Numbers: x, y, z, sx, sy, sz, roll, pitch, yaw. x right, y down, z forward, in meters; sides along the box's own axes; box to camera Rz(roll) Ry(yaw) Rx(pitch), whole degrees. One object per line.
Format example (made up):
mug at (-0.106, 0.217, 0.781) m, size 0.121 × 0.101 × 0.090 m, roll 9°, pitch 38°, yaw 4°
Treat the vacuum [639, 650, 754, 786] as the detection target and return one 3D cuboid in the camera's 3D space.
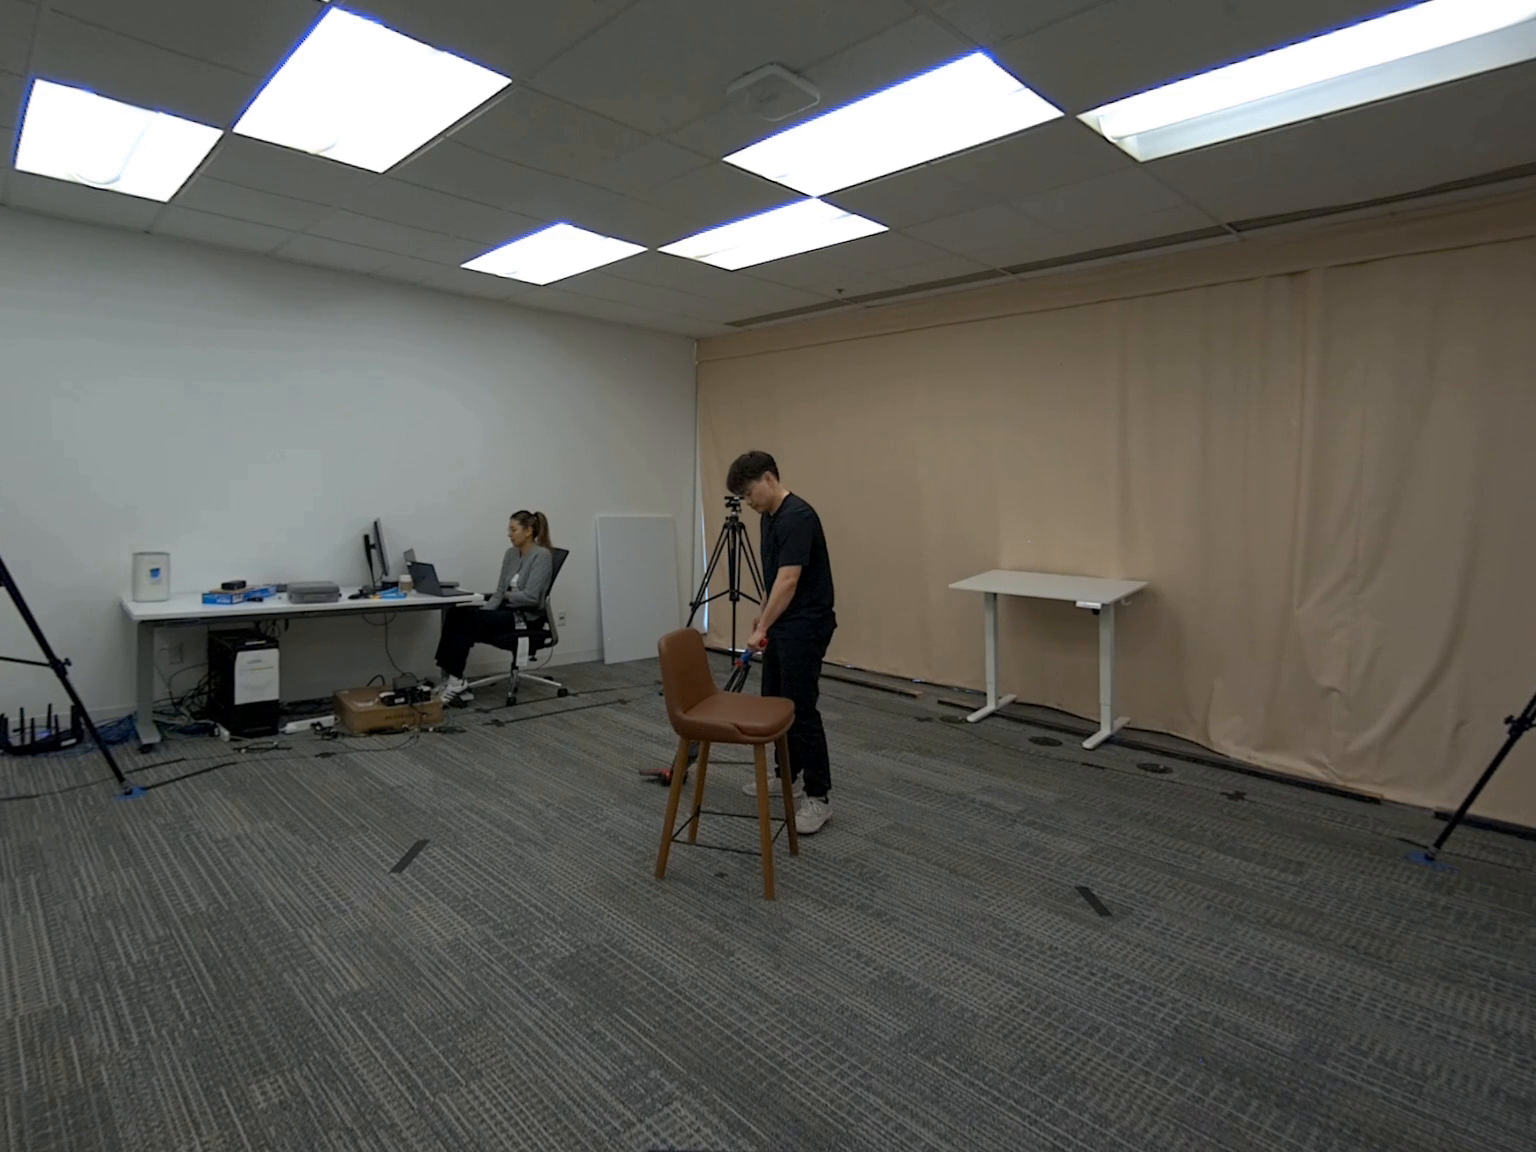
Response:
vacuum at (-0.257, 0.629, 3.813) m, size 0.246 × 1.044 × 0.148 m, roll 3°, pitch 46°, yaw -37°
